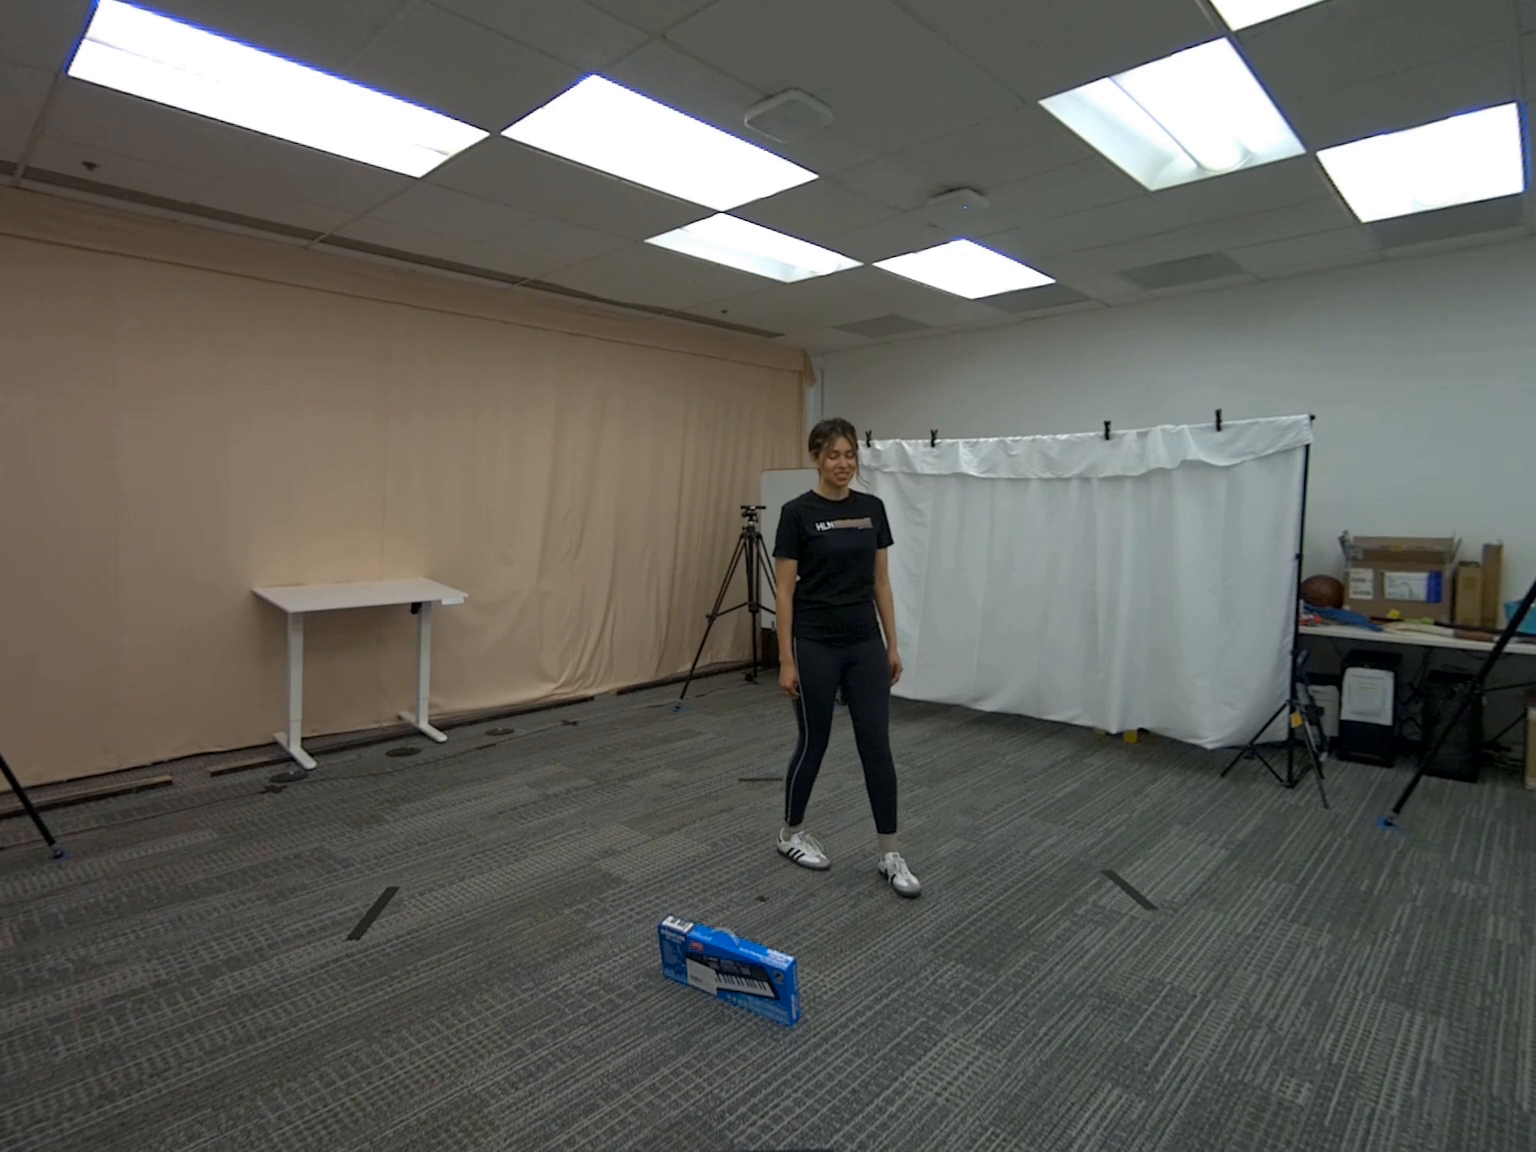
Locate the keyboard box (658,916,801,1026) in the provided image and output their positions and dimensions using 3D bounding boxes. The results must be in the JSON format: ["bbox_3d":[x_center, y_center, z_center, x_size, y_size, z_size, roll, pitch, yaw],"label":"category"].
[{"bbox_3d":[-0.115,1.108,2.375,0.450,0.175,0.058,2,12,33],"label":"keyboard box"}]
